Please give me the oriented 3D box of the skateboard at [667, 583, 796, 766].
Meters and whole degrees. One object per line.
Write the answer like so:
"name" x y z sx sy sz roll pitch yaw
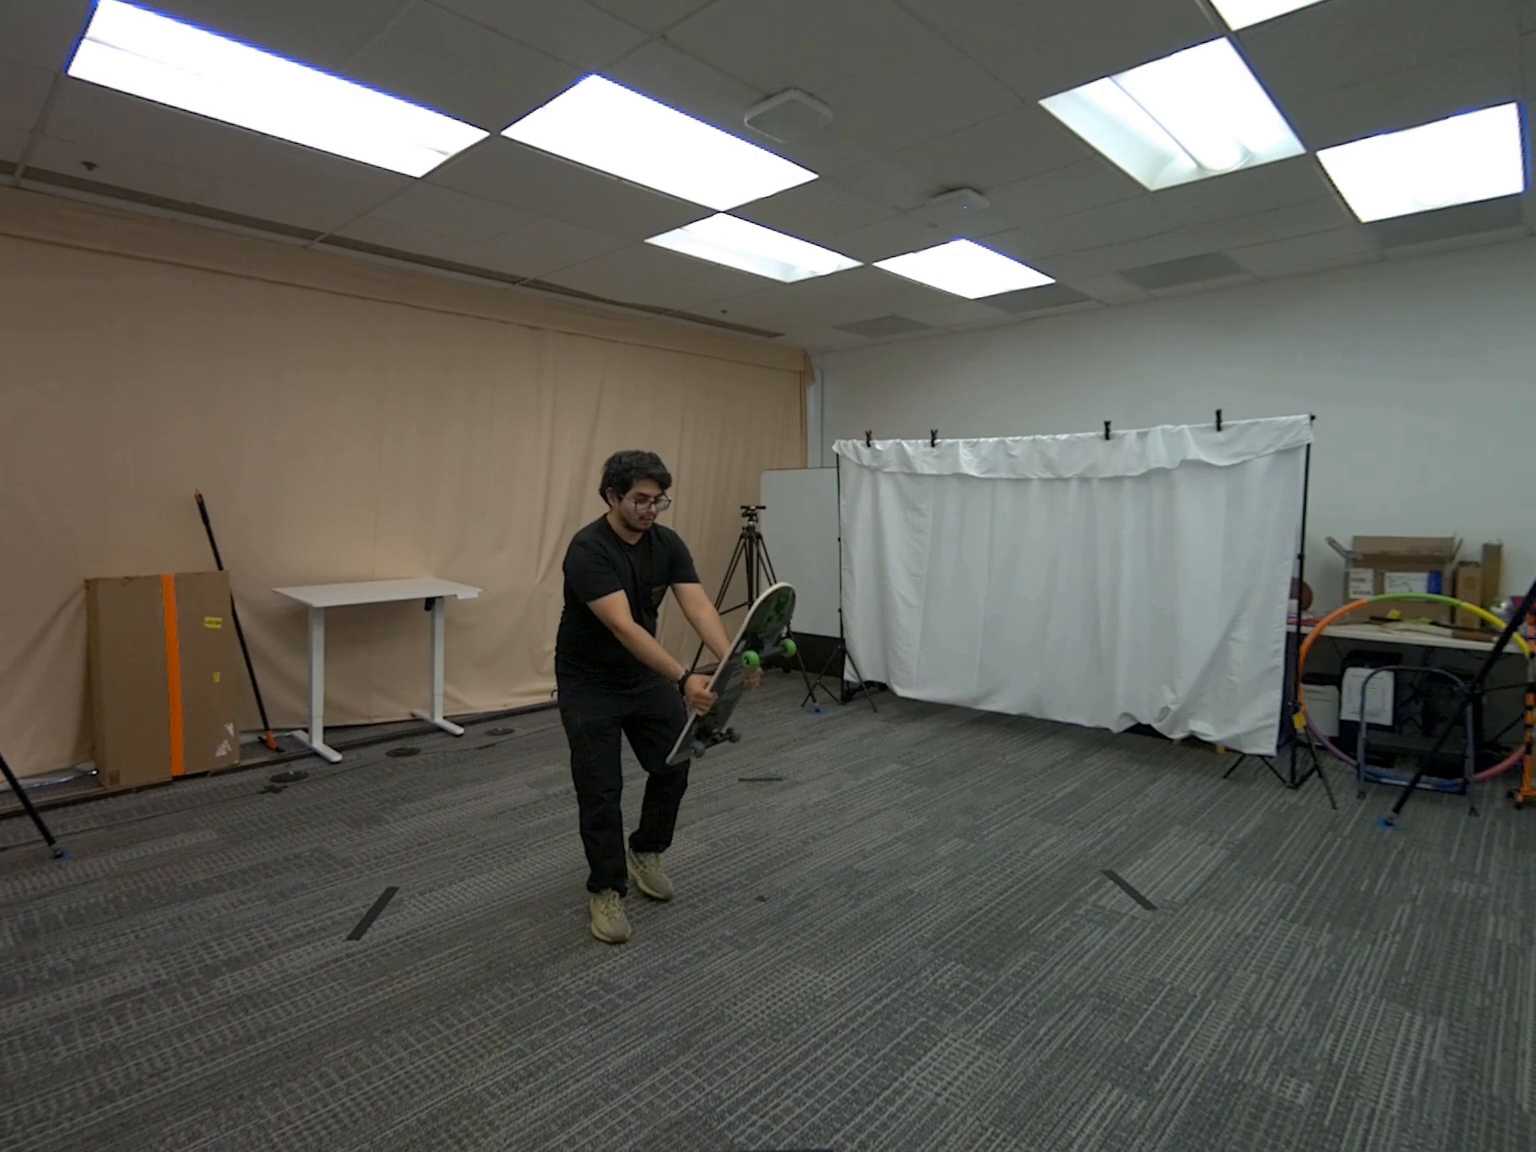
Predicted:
"skateboard" -0.096 0.347 2.483 0.188 0.784 0.113 -12 51 -46
